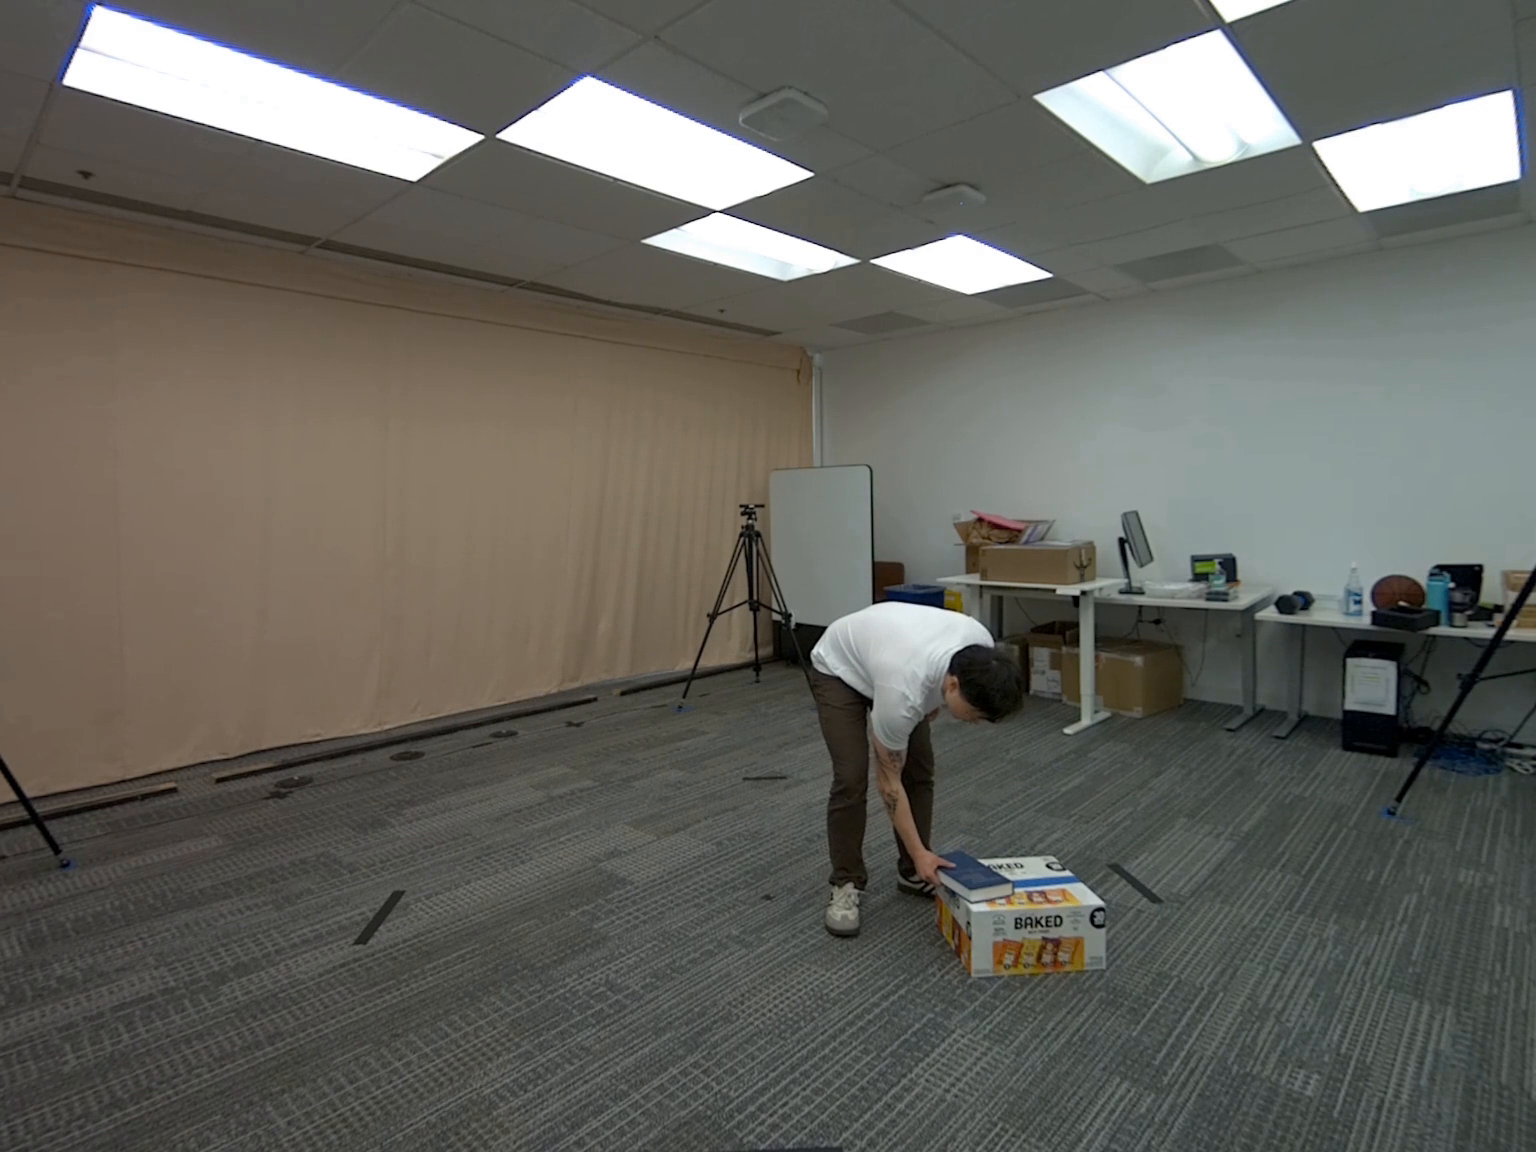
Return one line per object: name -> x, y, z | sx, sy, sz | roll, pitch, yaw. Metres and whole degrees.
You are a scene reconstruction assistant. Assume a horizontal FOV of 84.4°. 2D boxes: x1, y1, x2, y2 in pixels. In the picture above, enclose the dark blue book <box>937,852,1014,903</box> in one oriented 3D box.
dark blue book -> 0.631, 0.935, 2.624 | 0.160, 0.045, 0.251 | -1, 5, -24
